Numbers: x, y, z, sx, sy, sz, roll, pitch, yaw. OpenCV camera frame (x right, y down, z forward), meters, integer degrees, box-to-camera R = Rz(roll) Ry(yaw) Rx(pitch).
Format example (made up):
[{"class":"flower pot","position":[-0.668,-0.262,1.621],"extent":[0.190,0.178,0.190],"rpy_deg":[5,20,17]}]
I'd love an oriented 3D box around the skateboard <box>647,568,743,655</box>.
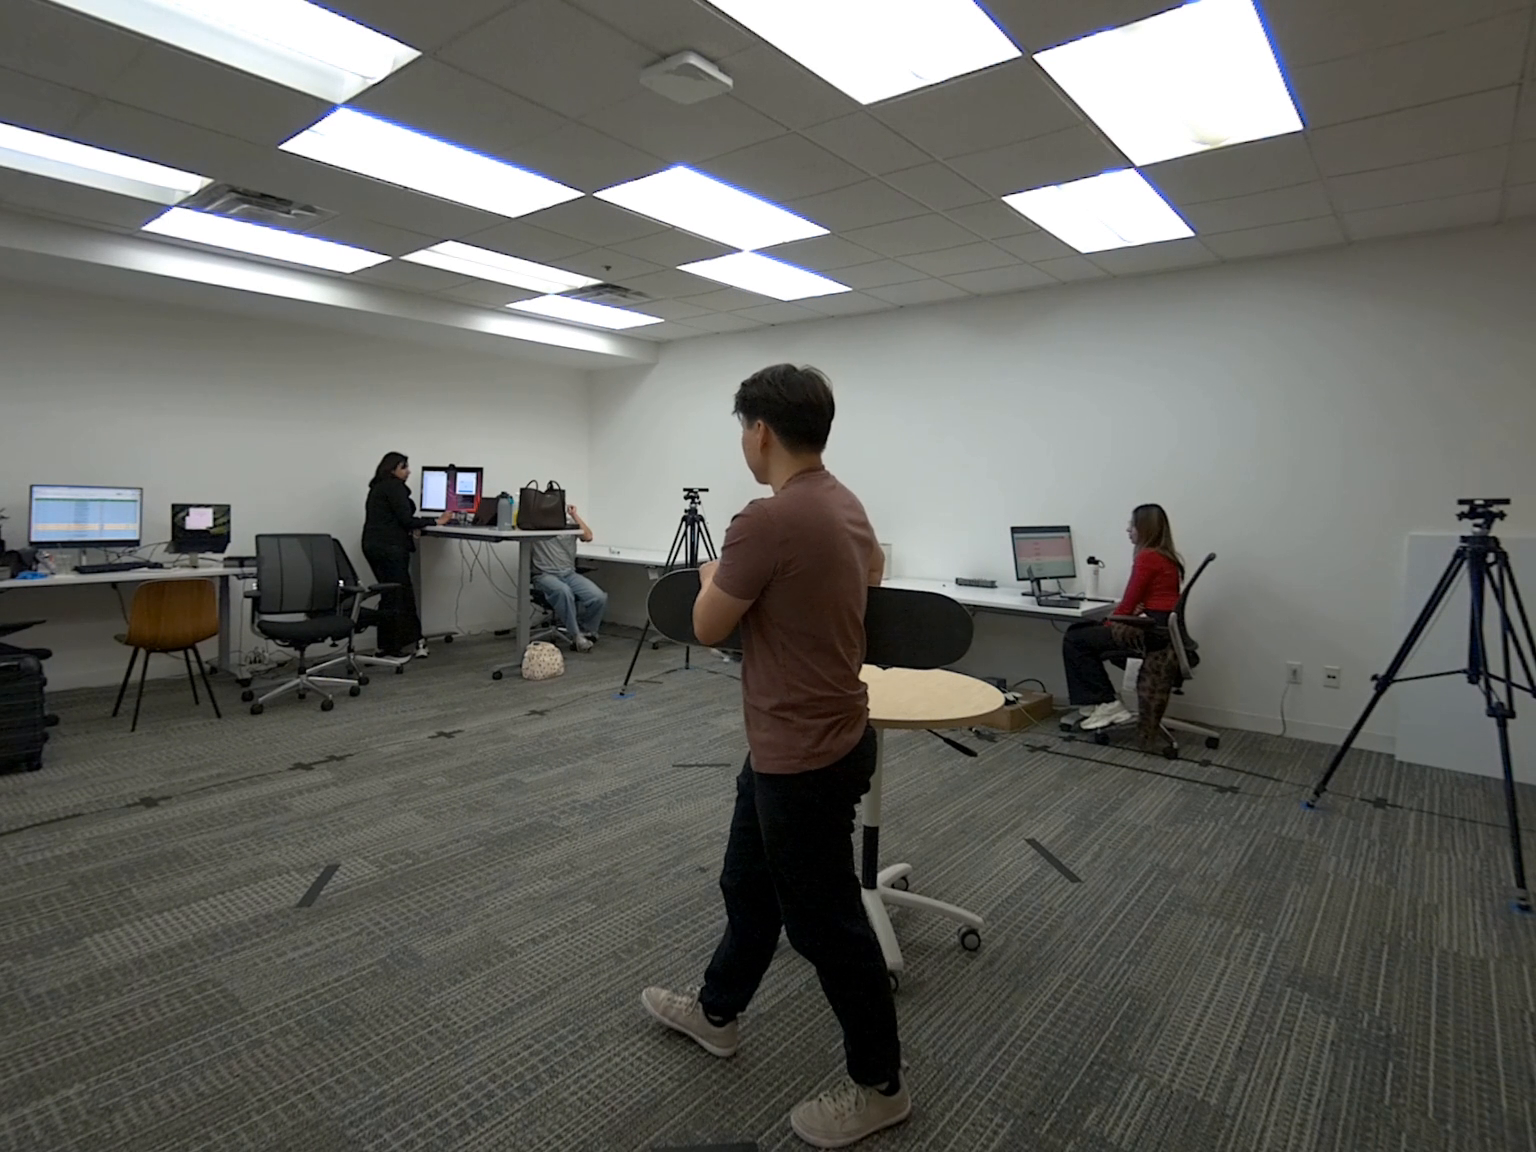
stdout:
[{"class":"skateboard","position":[0.087,0.117,2.094],"extent":[0.792,0.196,0.108],"rpy_deg":[6,-14,7]}]
